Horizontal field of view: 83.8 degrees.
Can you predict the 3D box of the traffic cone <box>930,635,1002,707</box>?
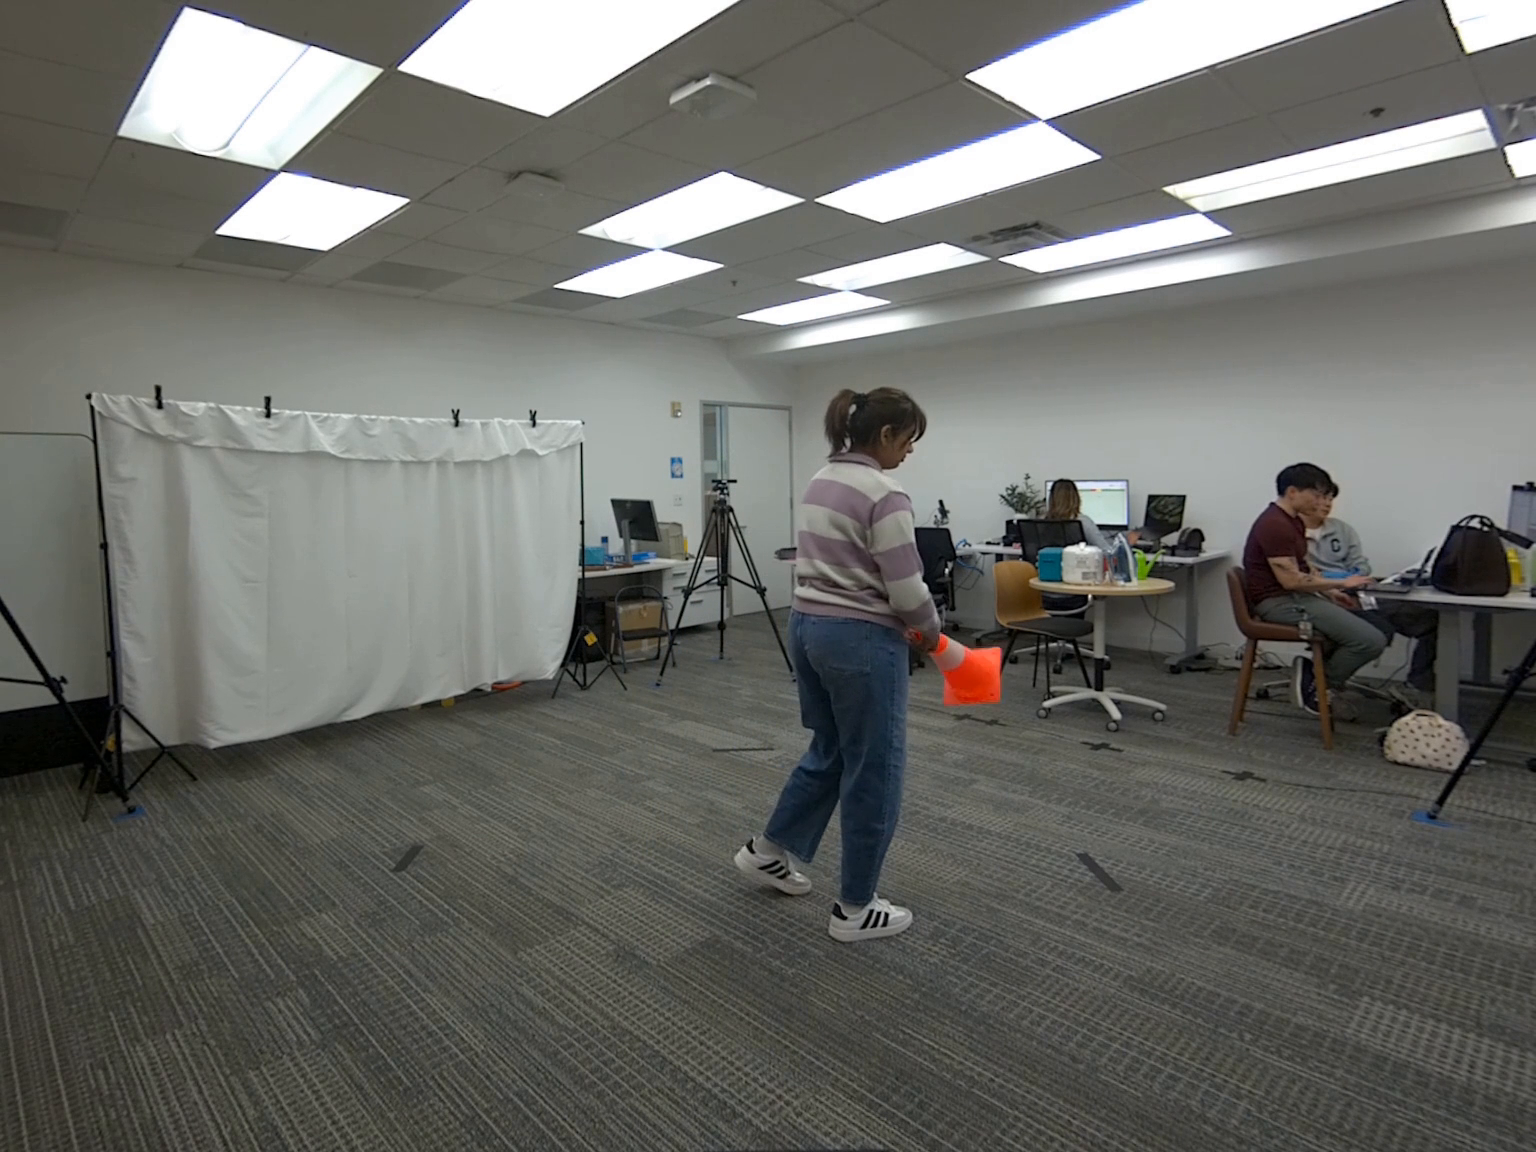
[{"bbox_3d":[0.572,0.252,2.771,0.210,0.206,0.369,-8,-35,41],"label":"traffic cone"}]
